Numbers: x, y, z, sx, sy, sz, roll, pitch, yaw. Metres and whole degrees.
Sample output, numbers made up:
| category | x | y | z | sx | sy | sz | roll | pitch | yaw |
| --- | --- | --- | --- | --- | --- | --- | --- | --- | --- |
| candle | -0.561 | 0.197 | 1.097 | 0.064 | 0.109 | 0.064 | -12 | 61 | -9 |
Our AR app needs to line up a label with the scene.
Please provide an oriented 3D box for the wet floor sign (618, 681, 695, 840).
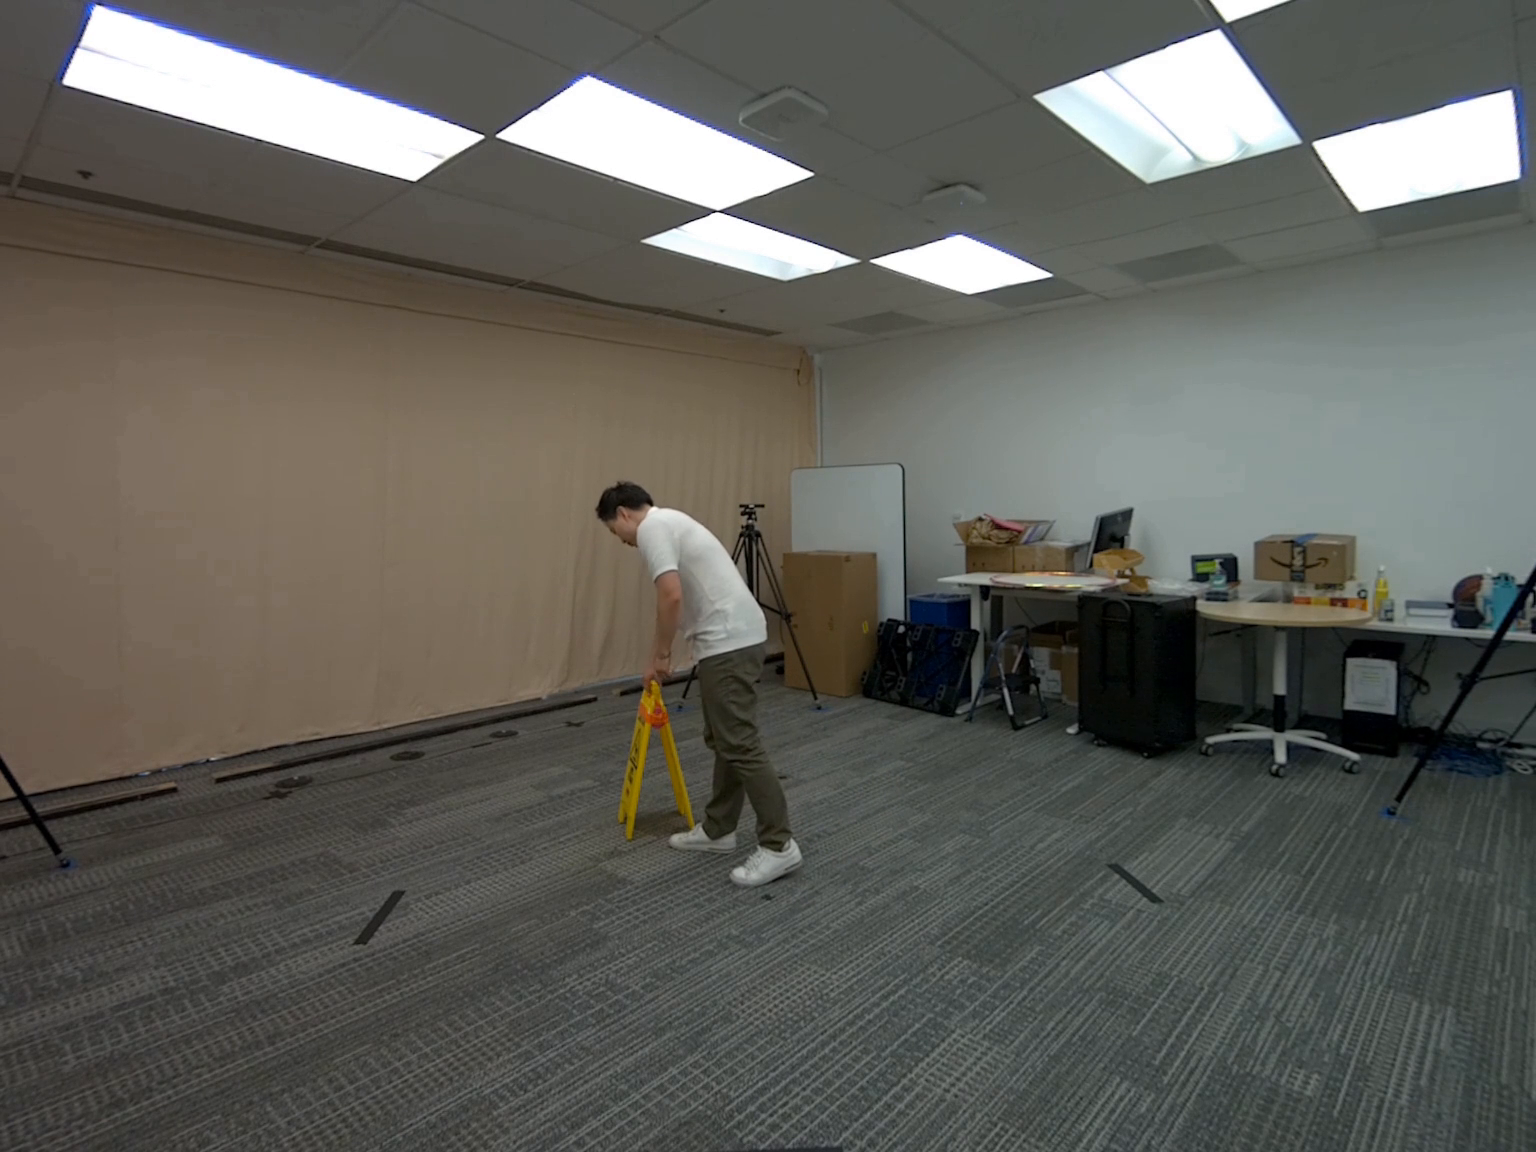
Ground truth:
| category | x | y | z | sx | sy | sz | roll | pitch | yaw |
| --- | --- | --- | --- | --- | --- | --- | --- | --- | --- |
| wet floor sign | -0.500 | 0.767 | 3.677 | 0.285 | 0.645 | 0.288 | -2 | 3 | -18 |
